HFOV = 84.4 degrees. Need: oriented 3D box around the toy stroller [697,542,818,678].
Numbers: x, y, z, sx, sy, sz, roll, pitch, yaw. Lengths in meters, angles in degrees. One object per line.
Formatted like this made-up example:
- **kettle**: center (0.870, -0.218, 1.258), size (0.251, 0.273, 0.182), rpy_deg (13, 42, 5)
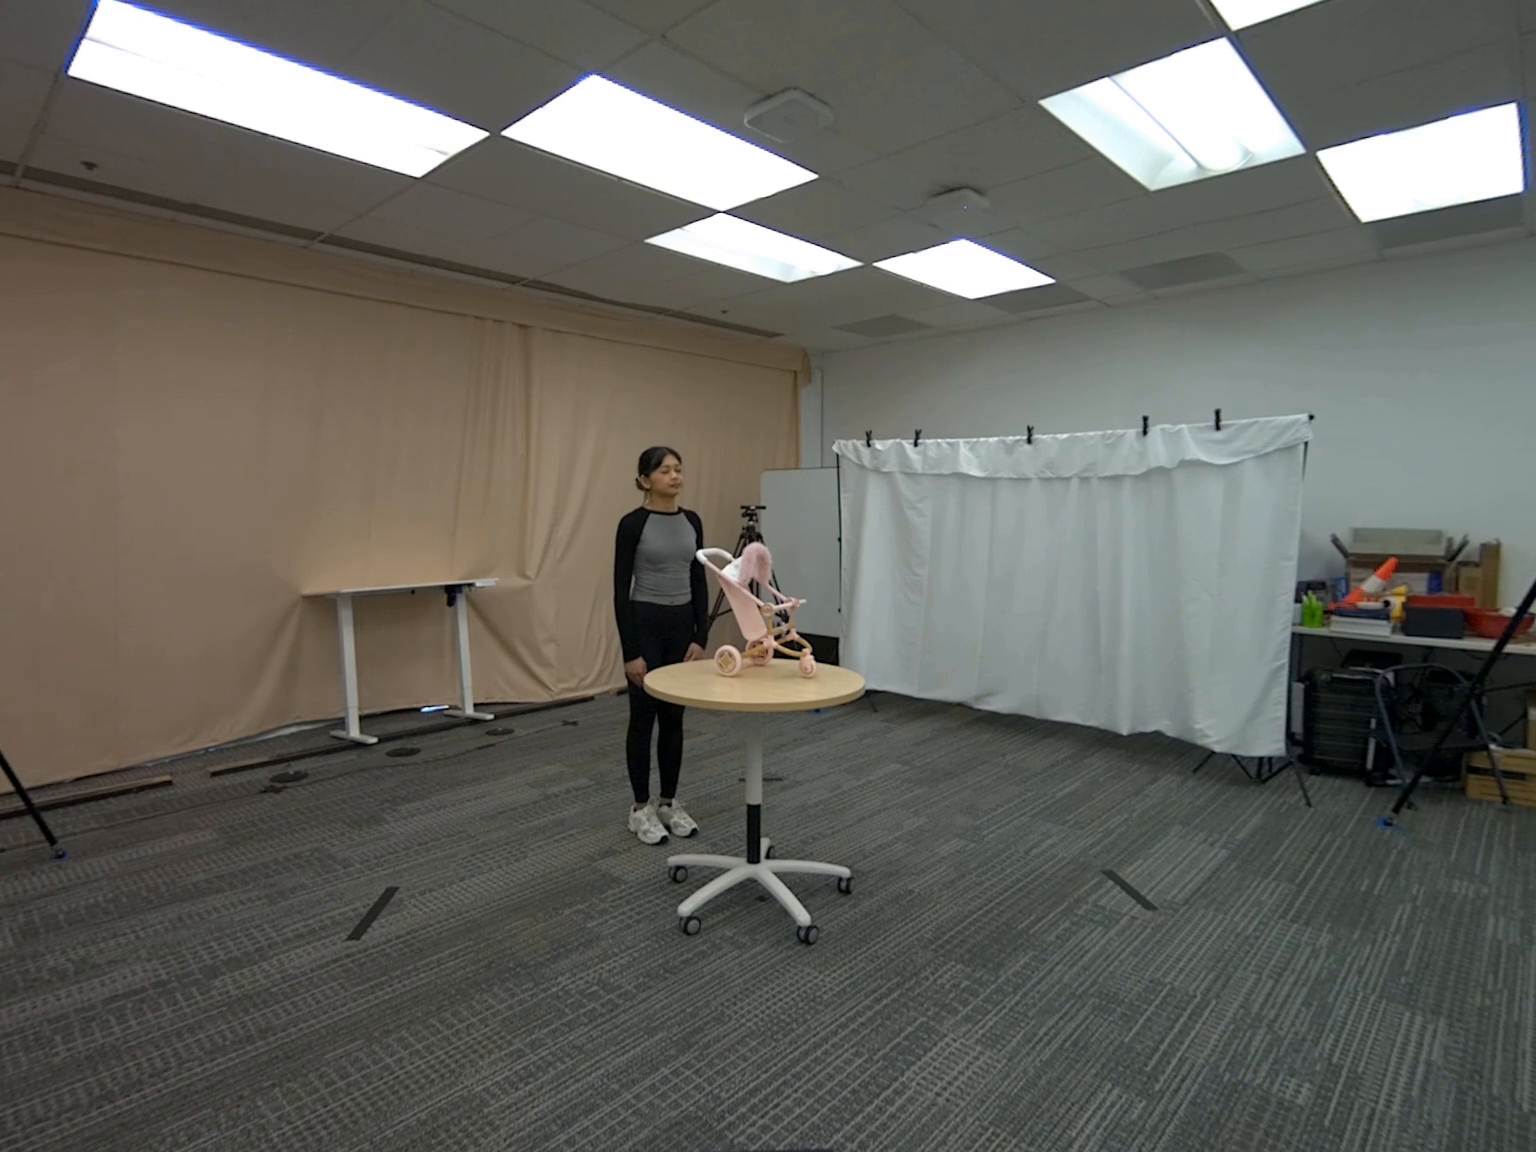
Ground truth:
- **toy stroller**: center (-0.024, 0.123, 3.011), size (0.349, 0.537, 0.274), rpy_deg (-15, -5, 32)
